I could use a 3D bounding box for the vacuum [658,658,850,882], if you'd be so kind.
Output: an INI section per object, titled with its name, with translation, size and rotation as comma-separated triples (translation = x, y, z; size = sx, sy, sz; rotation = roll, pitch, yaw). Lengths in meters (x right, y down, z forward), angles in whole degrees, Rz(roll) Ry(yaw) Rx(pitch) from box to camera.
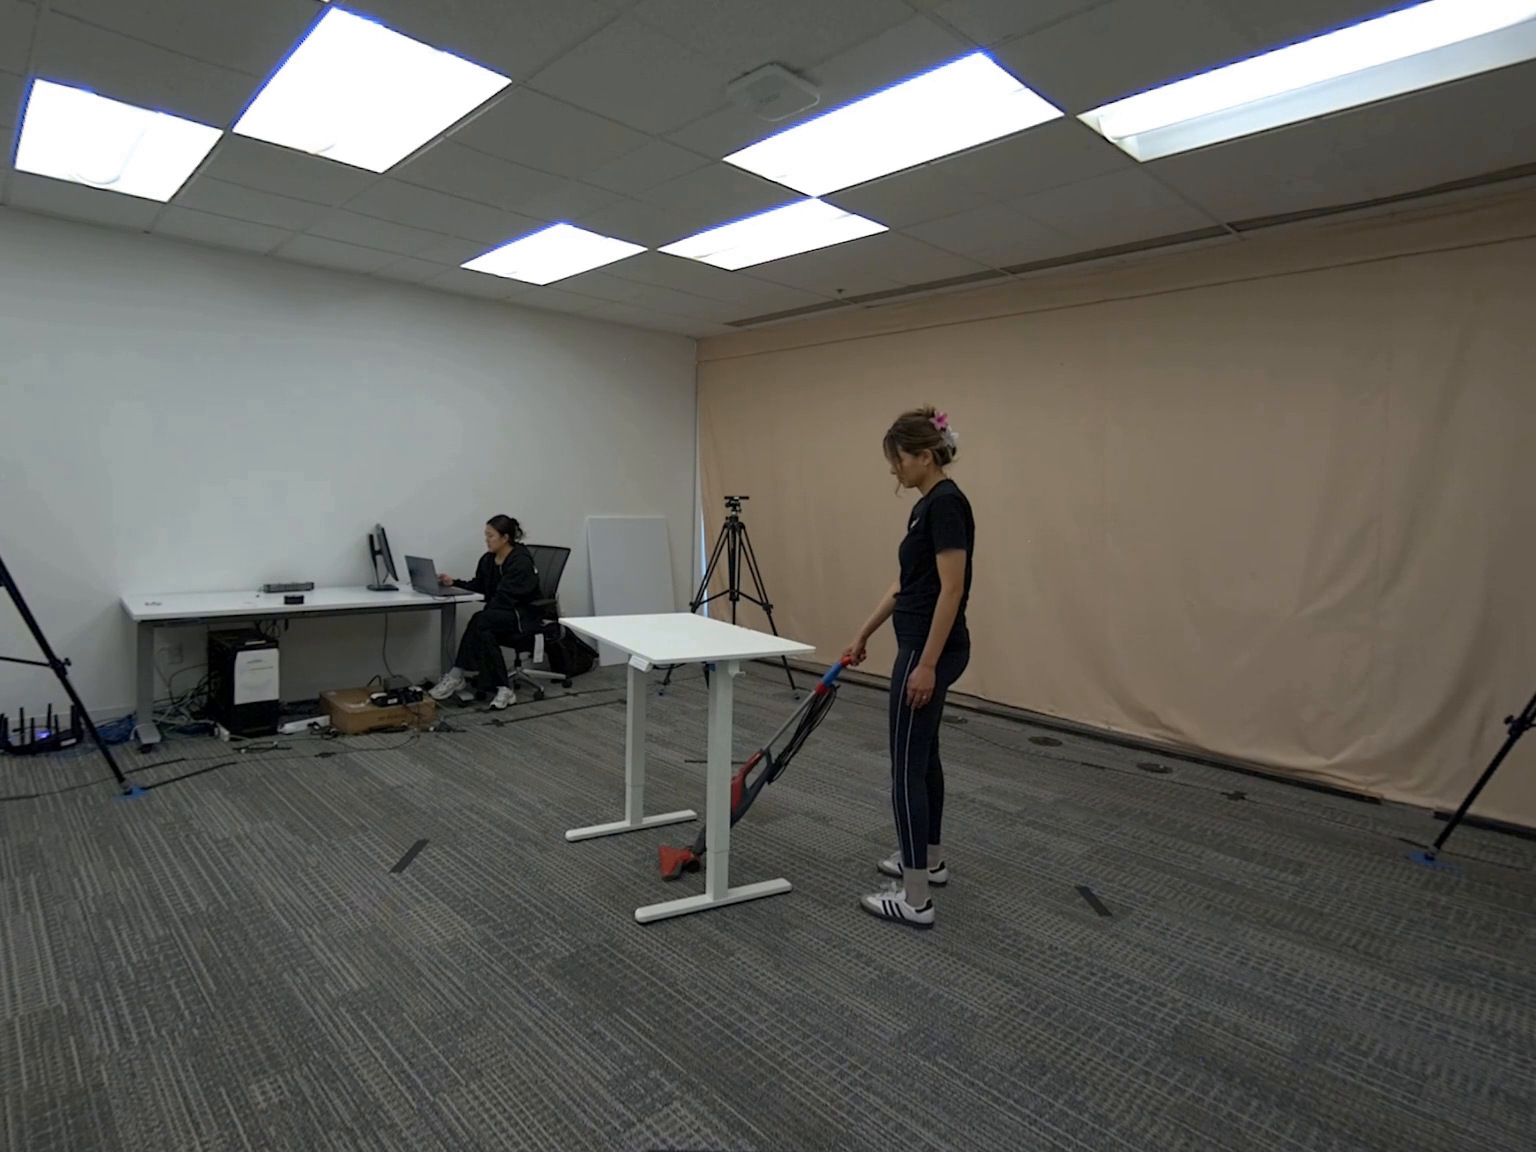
[vacuum]
translation = 0.014, 0.697, 3.183
size = 0.142, 1.049, 0.255
rotation = 44, -3, -11
